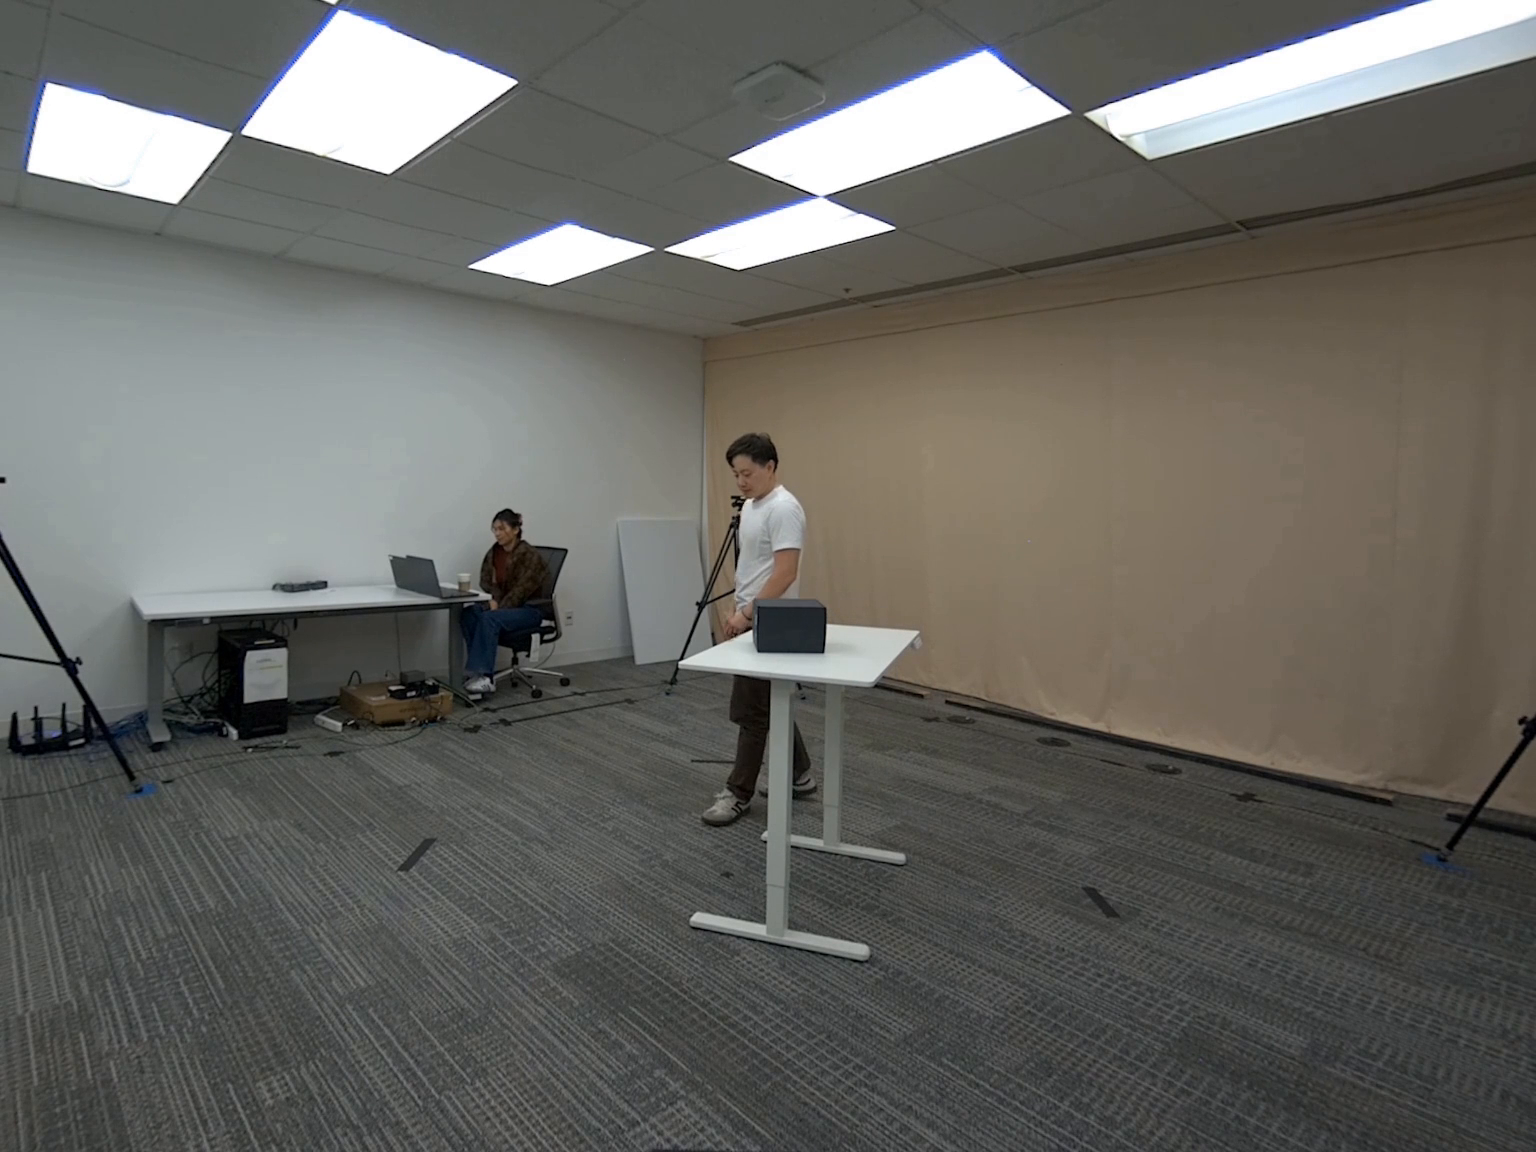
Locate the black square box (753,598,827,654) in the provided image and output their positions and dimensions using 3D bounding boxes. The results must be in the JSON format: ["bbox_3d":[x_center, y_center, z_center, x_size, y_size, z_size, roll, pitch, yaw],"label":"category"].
[{"bbox_3d":[0.056,0.167,2.887,0.228,0.155,0.218,1,5,-1],"label":"black square box"}]
